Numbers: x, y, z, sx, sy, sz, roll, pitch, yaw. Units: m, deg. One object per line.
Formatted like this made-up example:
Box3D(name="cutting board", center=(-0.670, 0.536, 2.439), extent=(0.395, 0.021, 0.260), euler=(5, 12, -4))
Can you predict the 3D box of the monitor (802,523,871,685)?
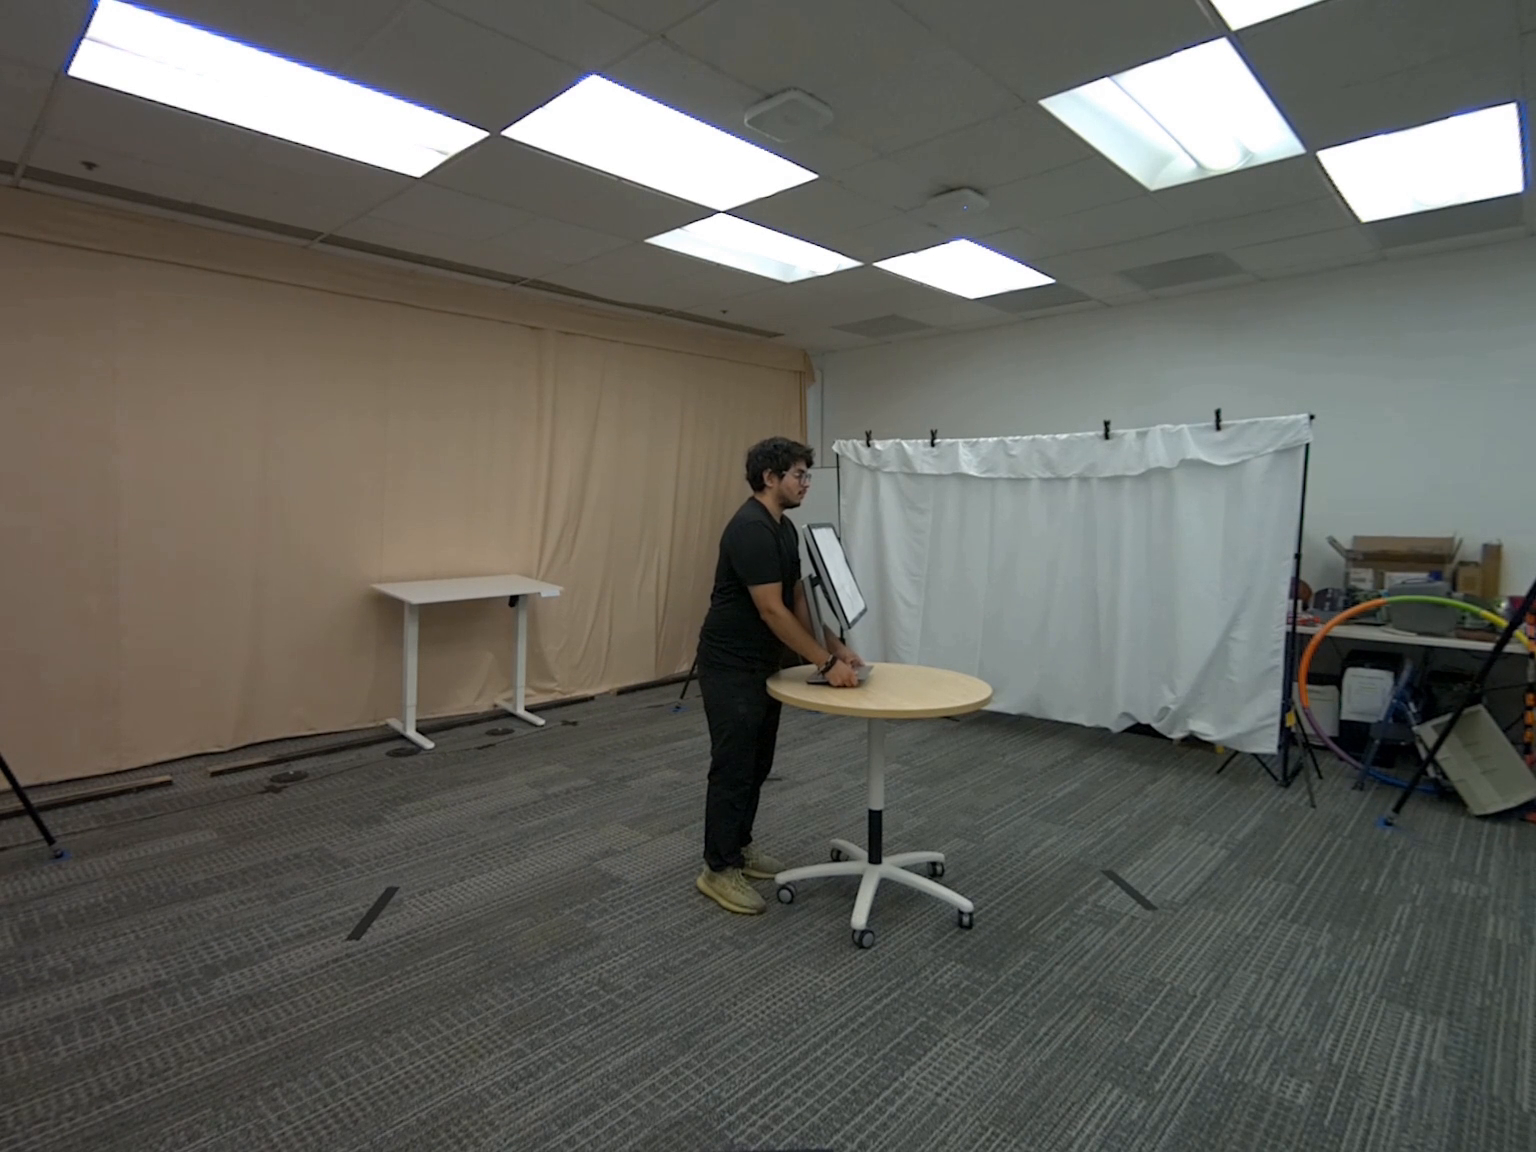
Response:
Box3D(name="monitor", center=(0.202, 0.094, 2.968), extent=(0.213, 0.554, 0.557), euler=(-15, 0, 14))
